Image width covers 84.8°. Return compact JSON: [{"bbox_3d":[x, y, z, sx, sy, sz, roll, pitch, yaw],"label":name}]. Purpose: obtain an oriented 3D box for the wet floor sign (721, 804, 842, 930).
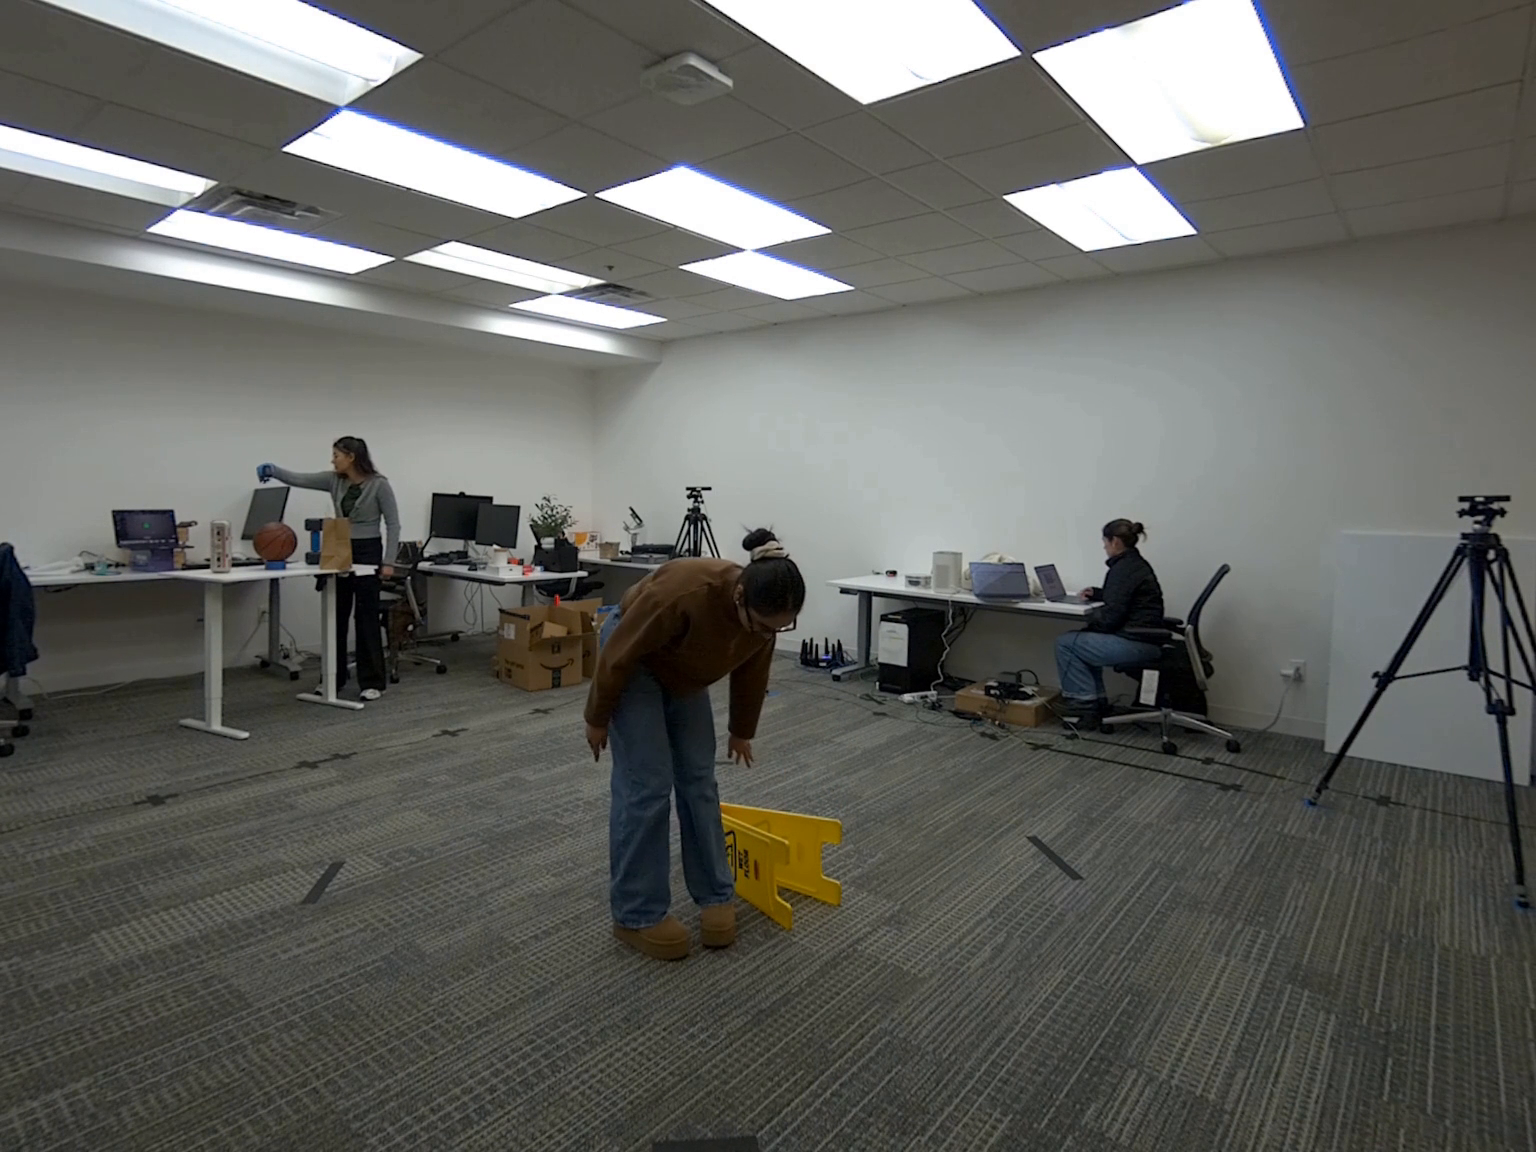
[{"bbox_3d":[-0.094,0.952,2.988,0.667,0.282,0.281,2,3,44],"label":"wet floor sign"}]
